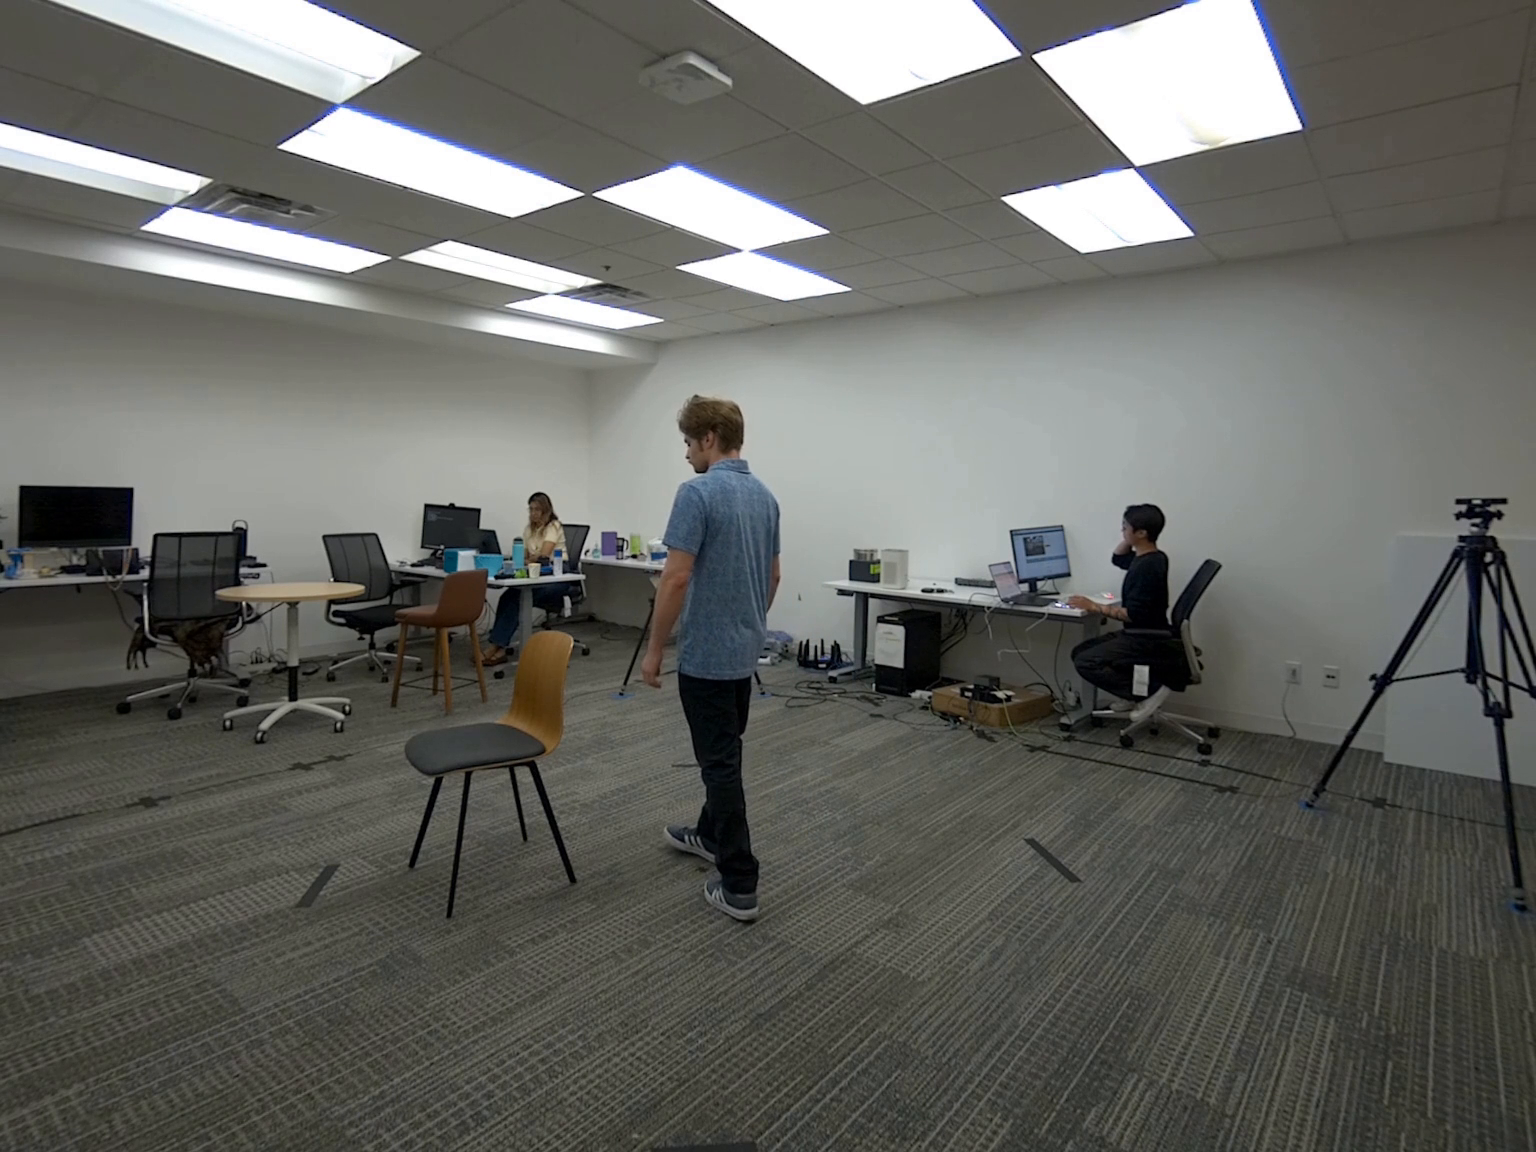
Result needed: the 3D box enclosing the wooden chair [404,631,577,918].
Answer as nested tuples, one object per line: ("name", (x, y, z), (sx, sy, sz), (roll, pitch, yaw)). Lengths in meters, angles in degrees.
("wooden chair", (-1.001, 0.639, 3.005), (0.506, 0.877, 0.494), (4, 1, -37))
